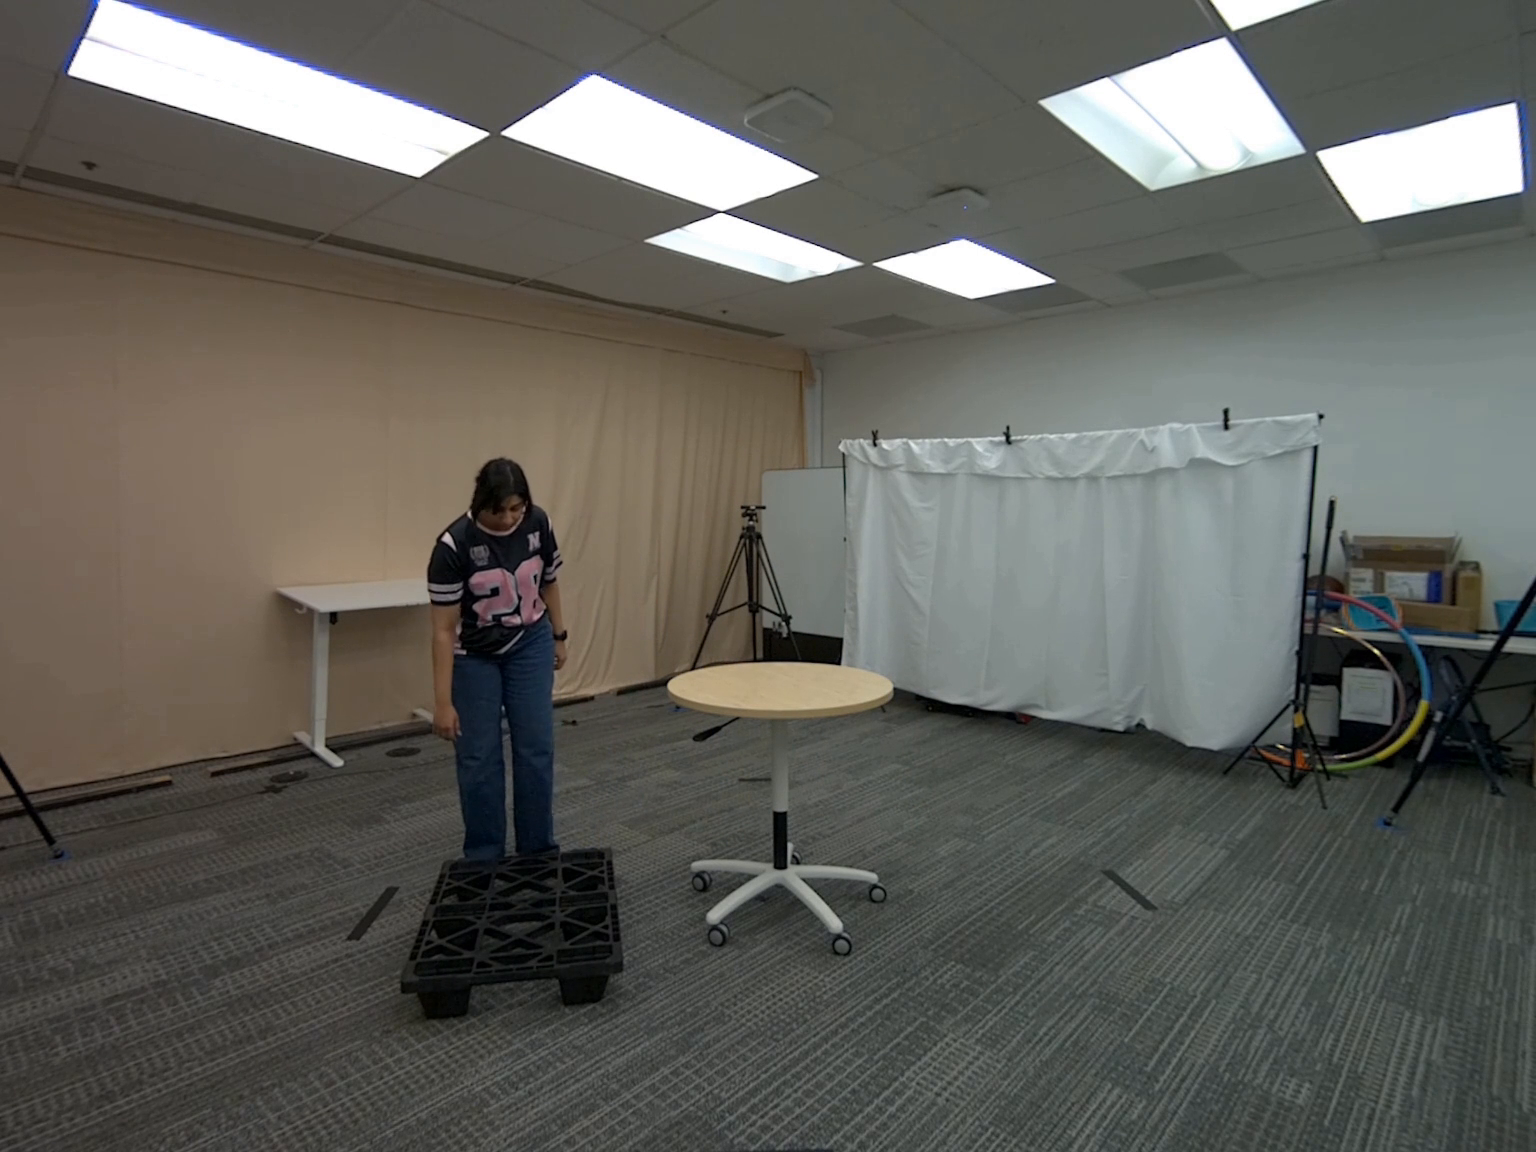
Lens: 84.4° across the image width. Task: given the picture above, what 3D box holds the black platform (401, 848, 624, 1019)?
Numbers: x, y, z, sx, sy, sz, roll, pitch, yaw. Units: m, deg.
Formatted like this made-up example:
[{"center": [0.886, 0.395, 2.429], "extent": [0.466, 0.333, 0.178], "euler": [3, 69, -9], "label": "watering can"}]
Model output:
[{"center": [-0.775, 1.108, 2.682], "extent": [0.598, 0.143, 0.817], "euler": [-1, 5, -12], "label": "black platform"}]
